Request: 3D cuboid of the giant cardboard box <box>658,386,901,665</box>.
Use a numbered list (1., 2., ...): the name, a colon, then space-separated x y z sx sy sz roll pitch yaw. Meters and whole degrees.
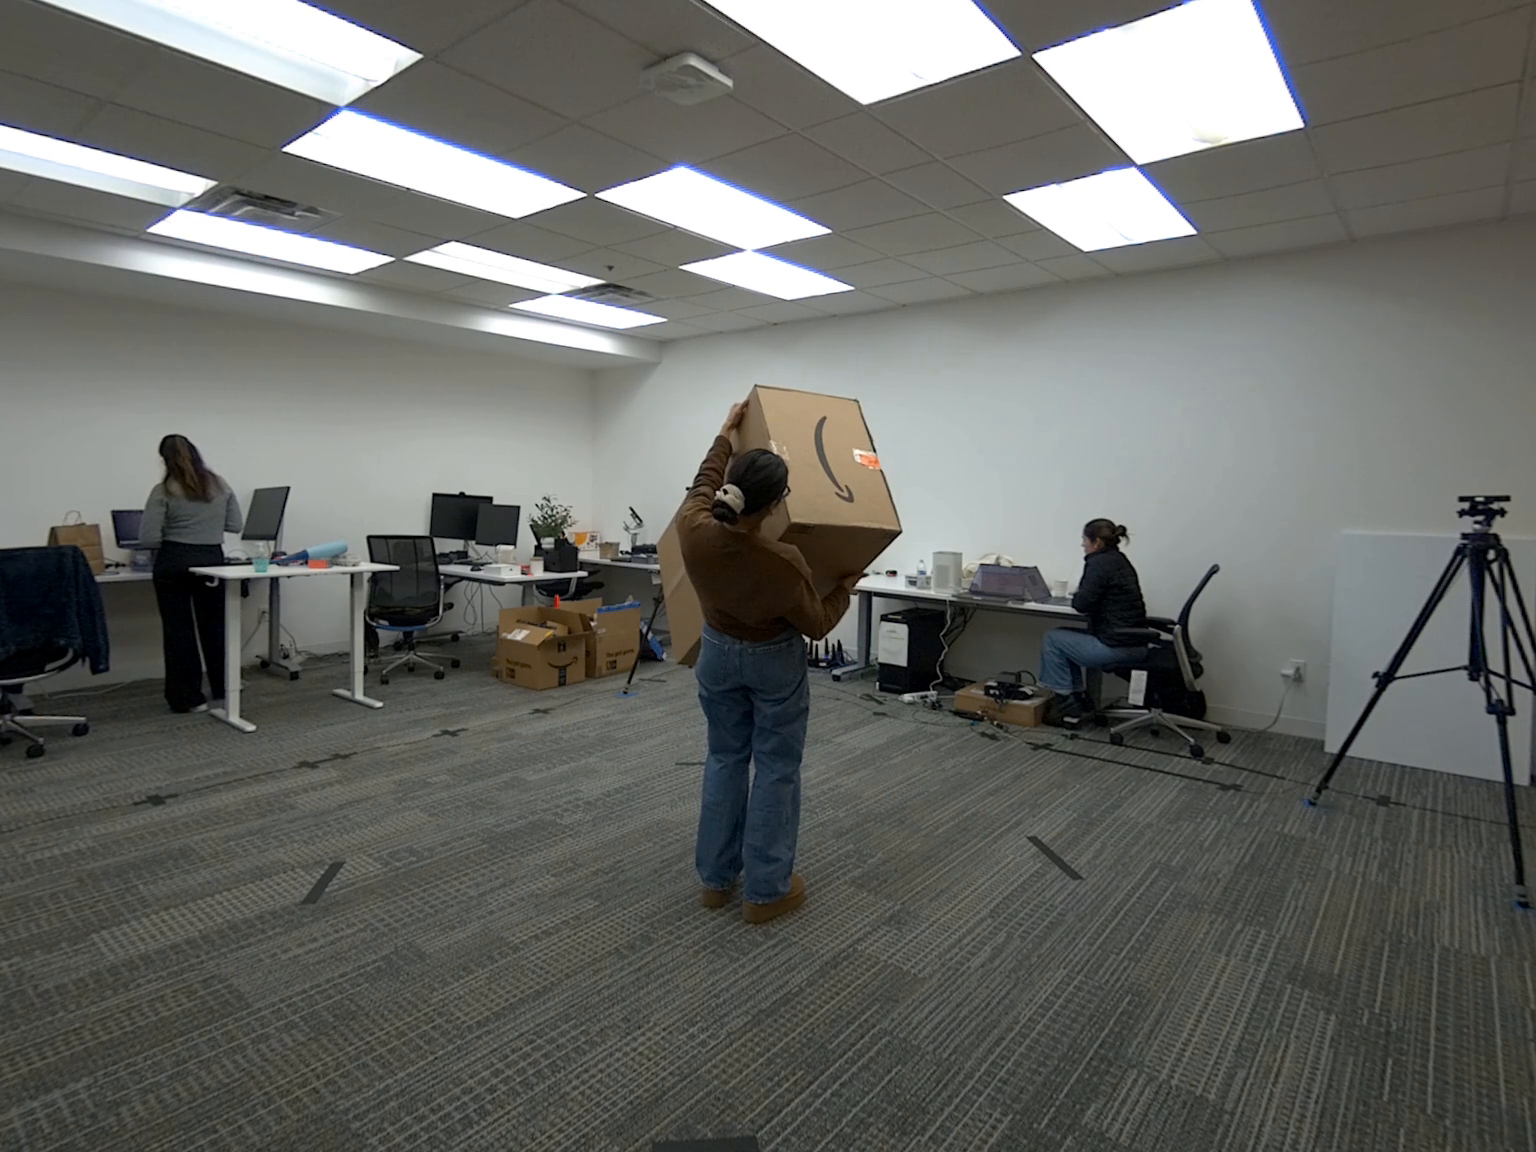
1. giant cardboard box: -0.034 -0.140 3.229 0.415 0.595 1.022 5 -34 -28
